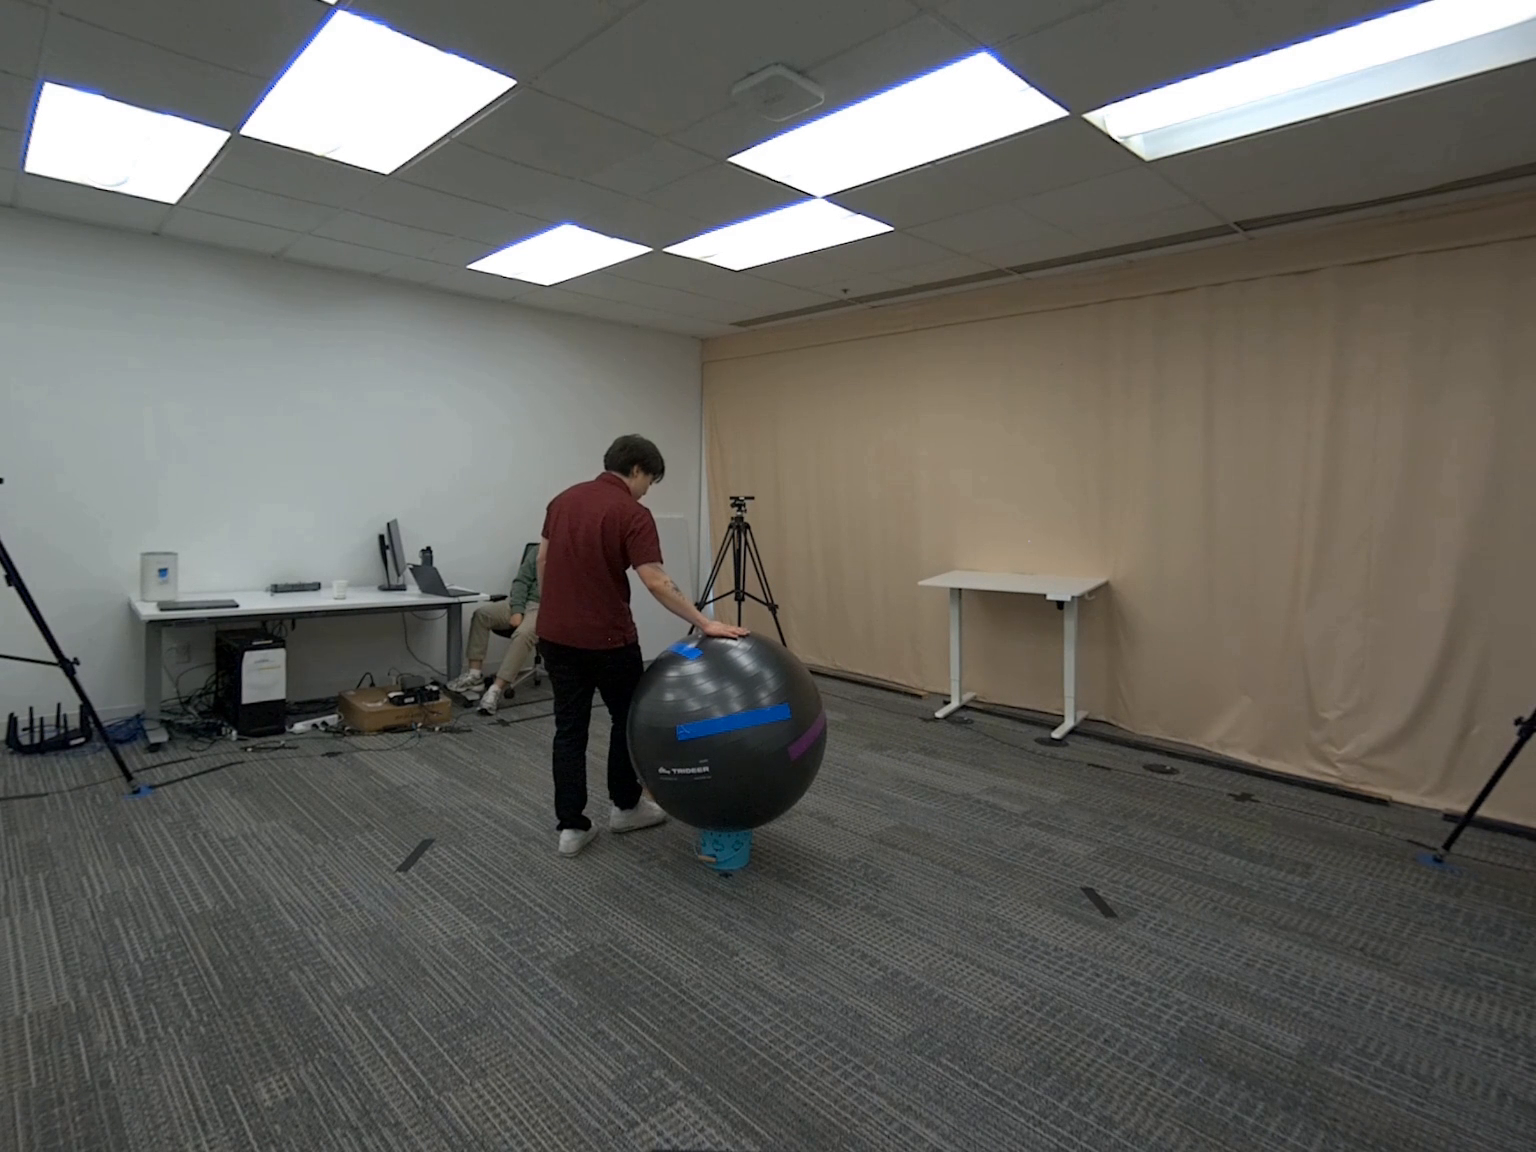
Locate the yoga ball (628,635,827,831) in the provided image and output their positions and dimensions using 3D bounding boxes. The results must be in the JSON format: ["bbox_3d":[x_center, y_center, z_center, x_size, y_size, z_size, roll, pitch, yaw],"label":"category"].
[{"bbox_3d":[-0.153,0.592,3.209,0.757,0.756,0.761,1,4,-1],"label":"yoga ball"}]
